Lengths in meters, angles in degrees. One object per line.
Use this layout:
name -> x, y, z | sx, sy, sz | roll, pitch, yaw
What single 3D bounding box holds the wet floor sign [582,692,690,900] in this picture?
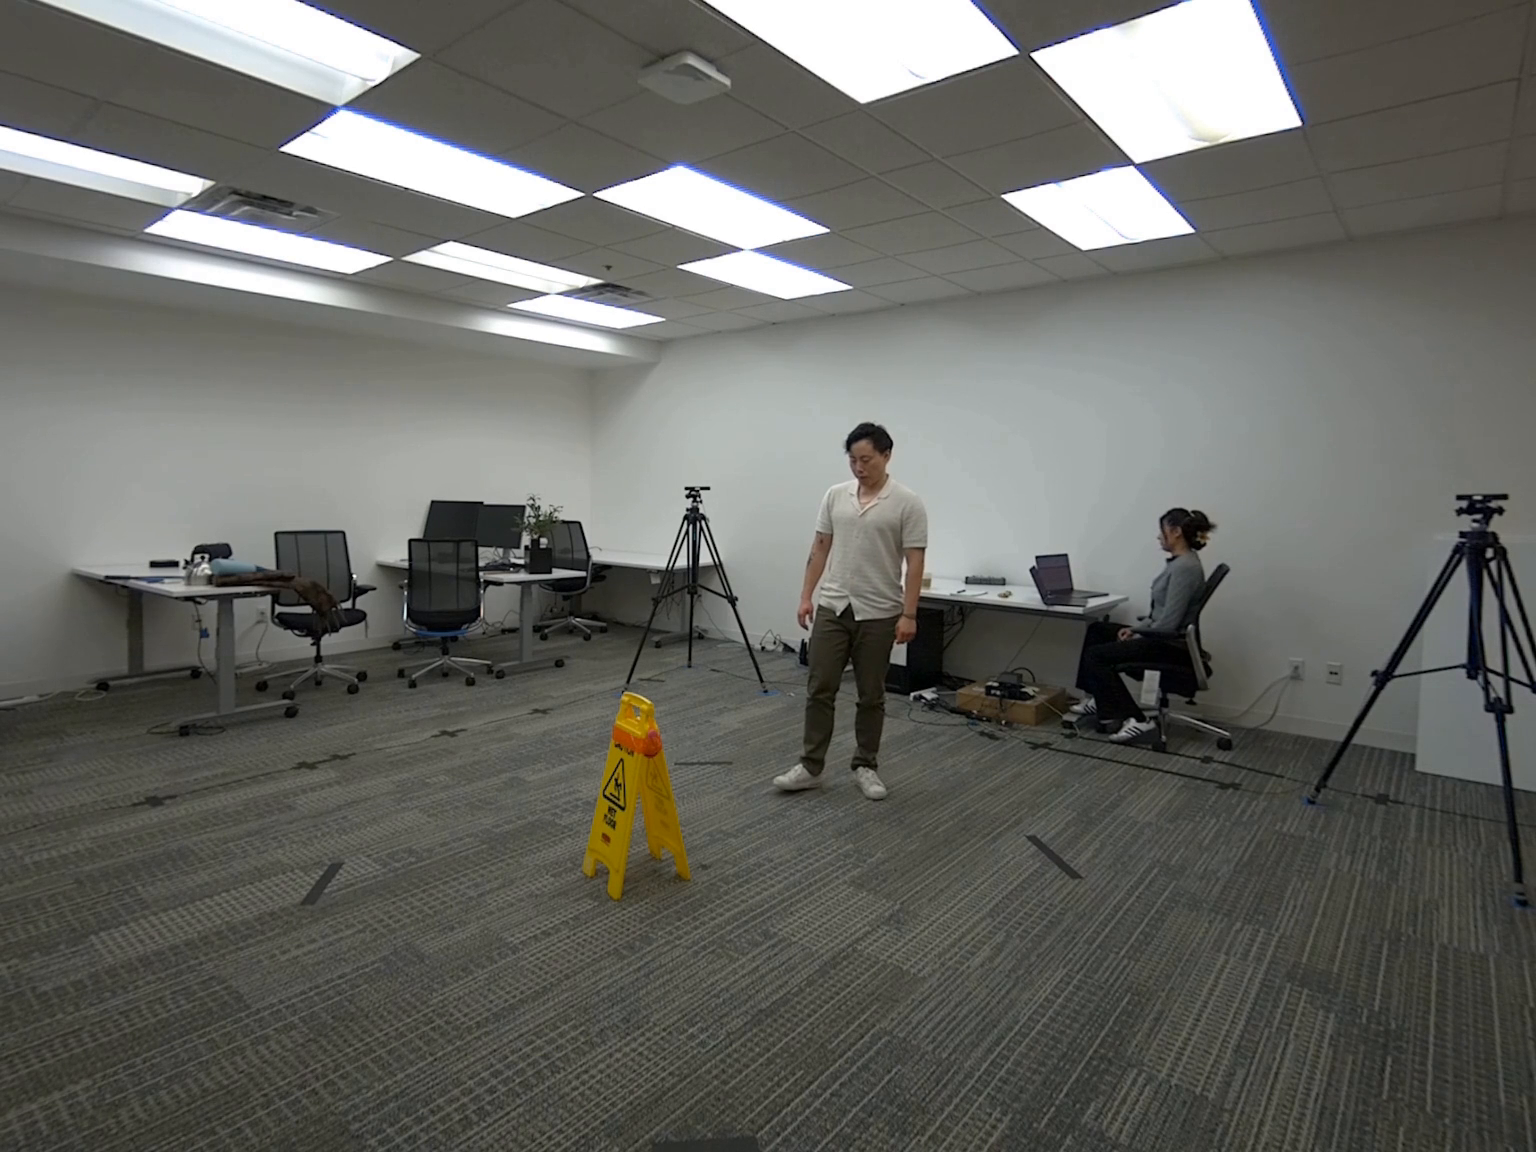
wet floor sign -> -0.476, 0.745, 3.027 | 0.281, 0.644, 0.291 | -1, 4, -36
